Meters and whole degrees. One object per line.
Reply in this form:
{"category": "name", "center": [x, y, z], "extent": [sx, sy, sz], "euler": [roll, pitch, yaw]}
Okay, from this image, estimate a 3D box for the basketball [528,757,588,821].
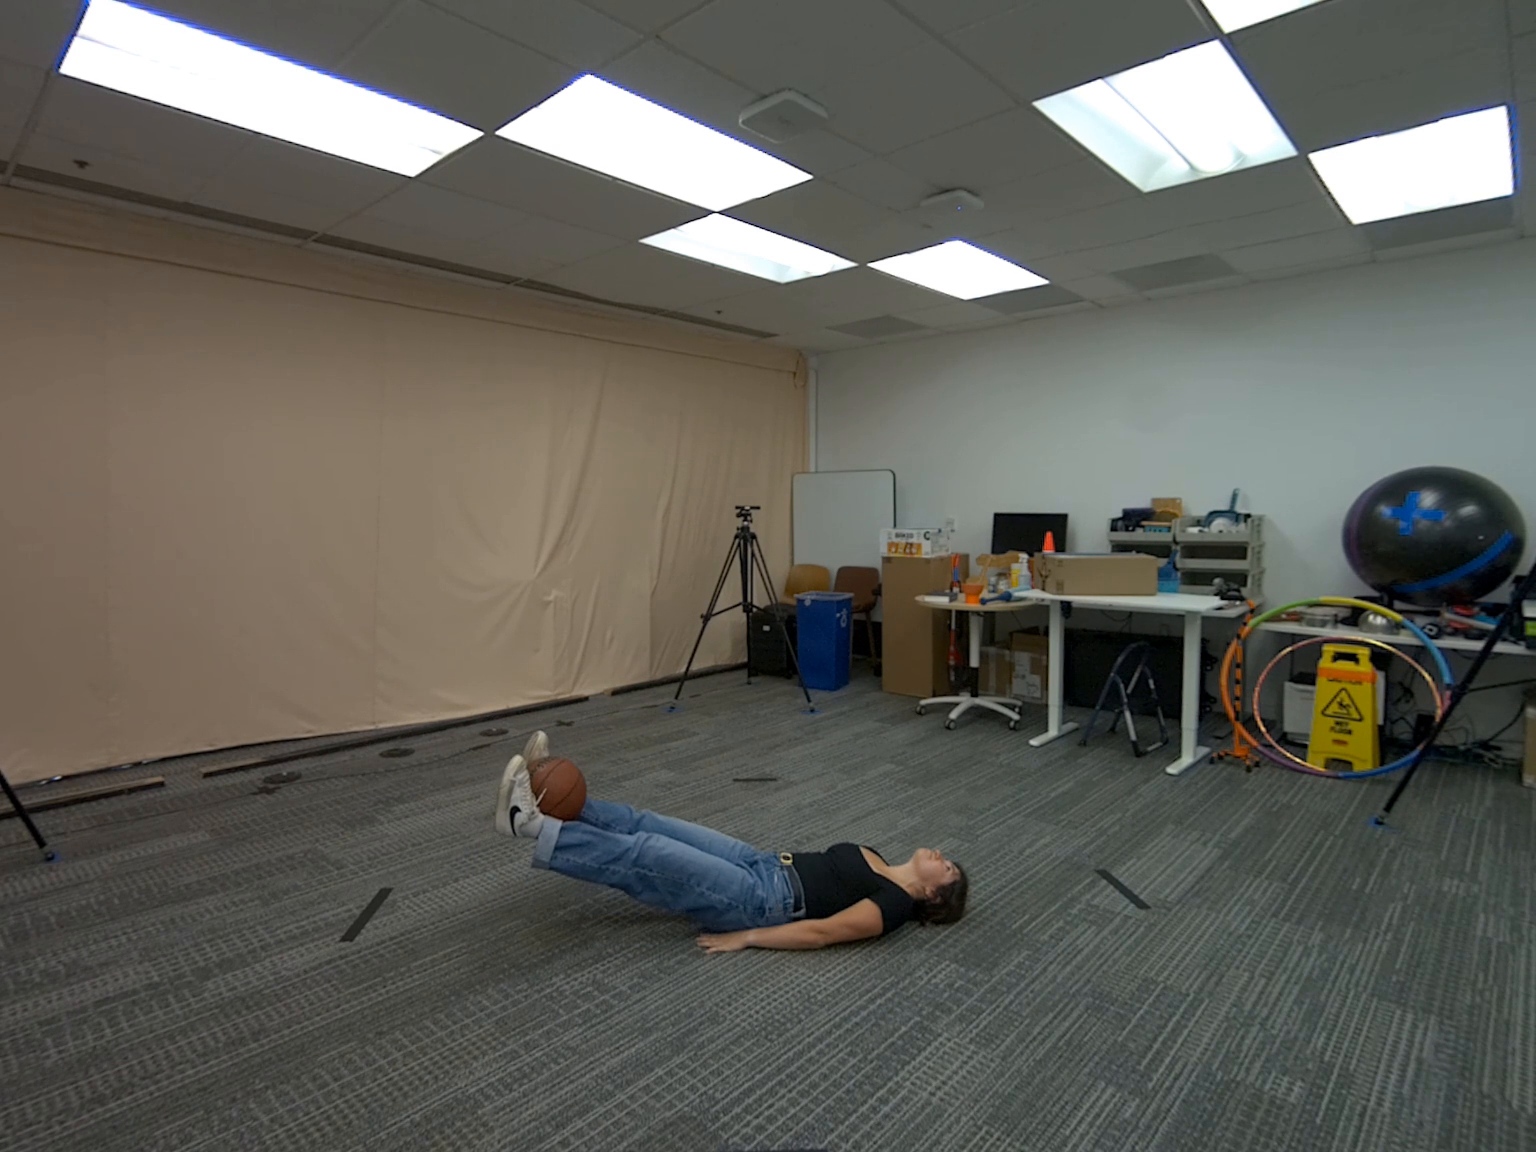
{"category": "basketball", "center": [-0.719, 0.719, 2.779], "extent": [0.236, 0.235, 0.237], "euler": [0, 4, -2]}
